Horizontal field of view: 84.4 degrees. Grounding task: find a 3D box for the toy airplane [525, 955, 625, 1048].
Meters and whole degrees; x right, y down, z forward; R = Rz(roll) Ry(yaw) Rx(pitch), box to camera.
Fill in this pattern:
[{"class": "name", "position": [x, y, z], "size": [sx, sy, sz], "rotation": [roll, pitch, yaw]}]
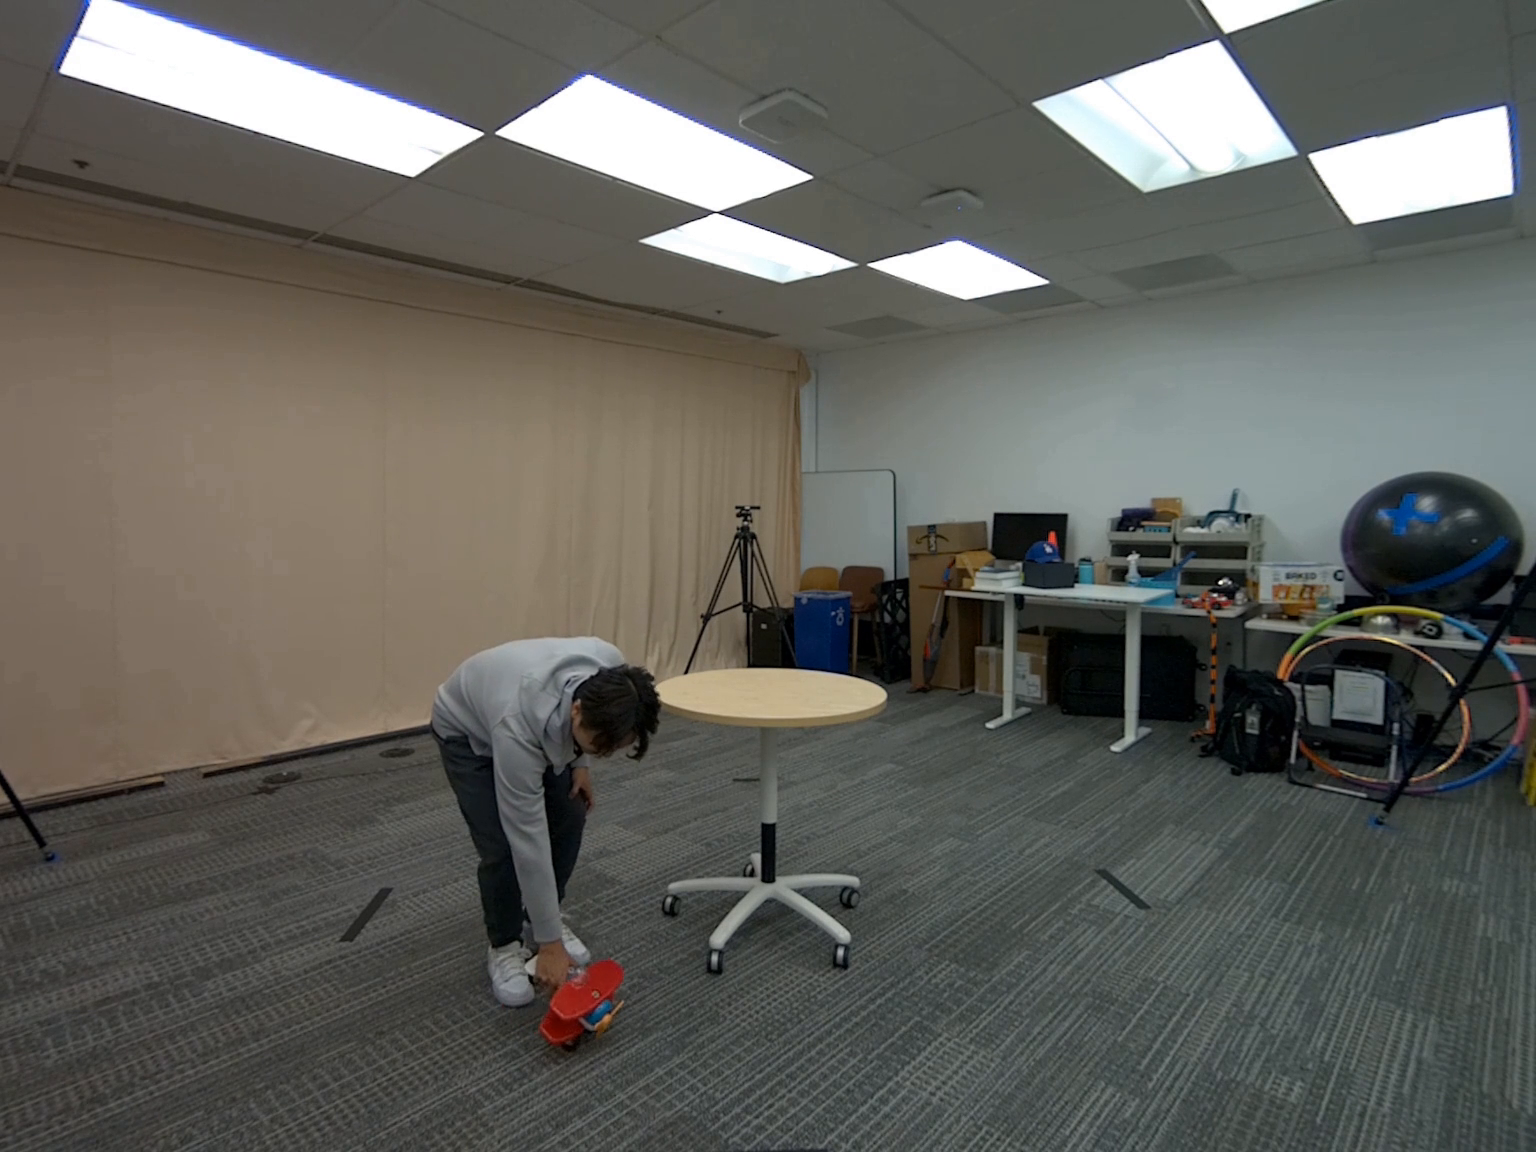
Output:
[{"class": "toy airplane", "position": [-0.515, 1.096, 2.197], "size": [0.257, 0.157, 0.253], "rotation": [33, 20, -8]}]
